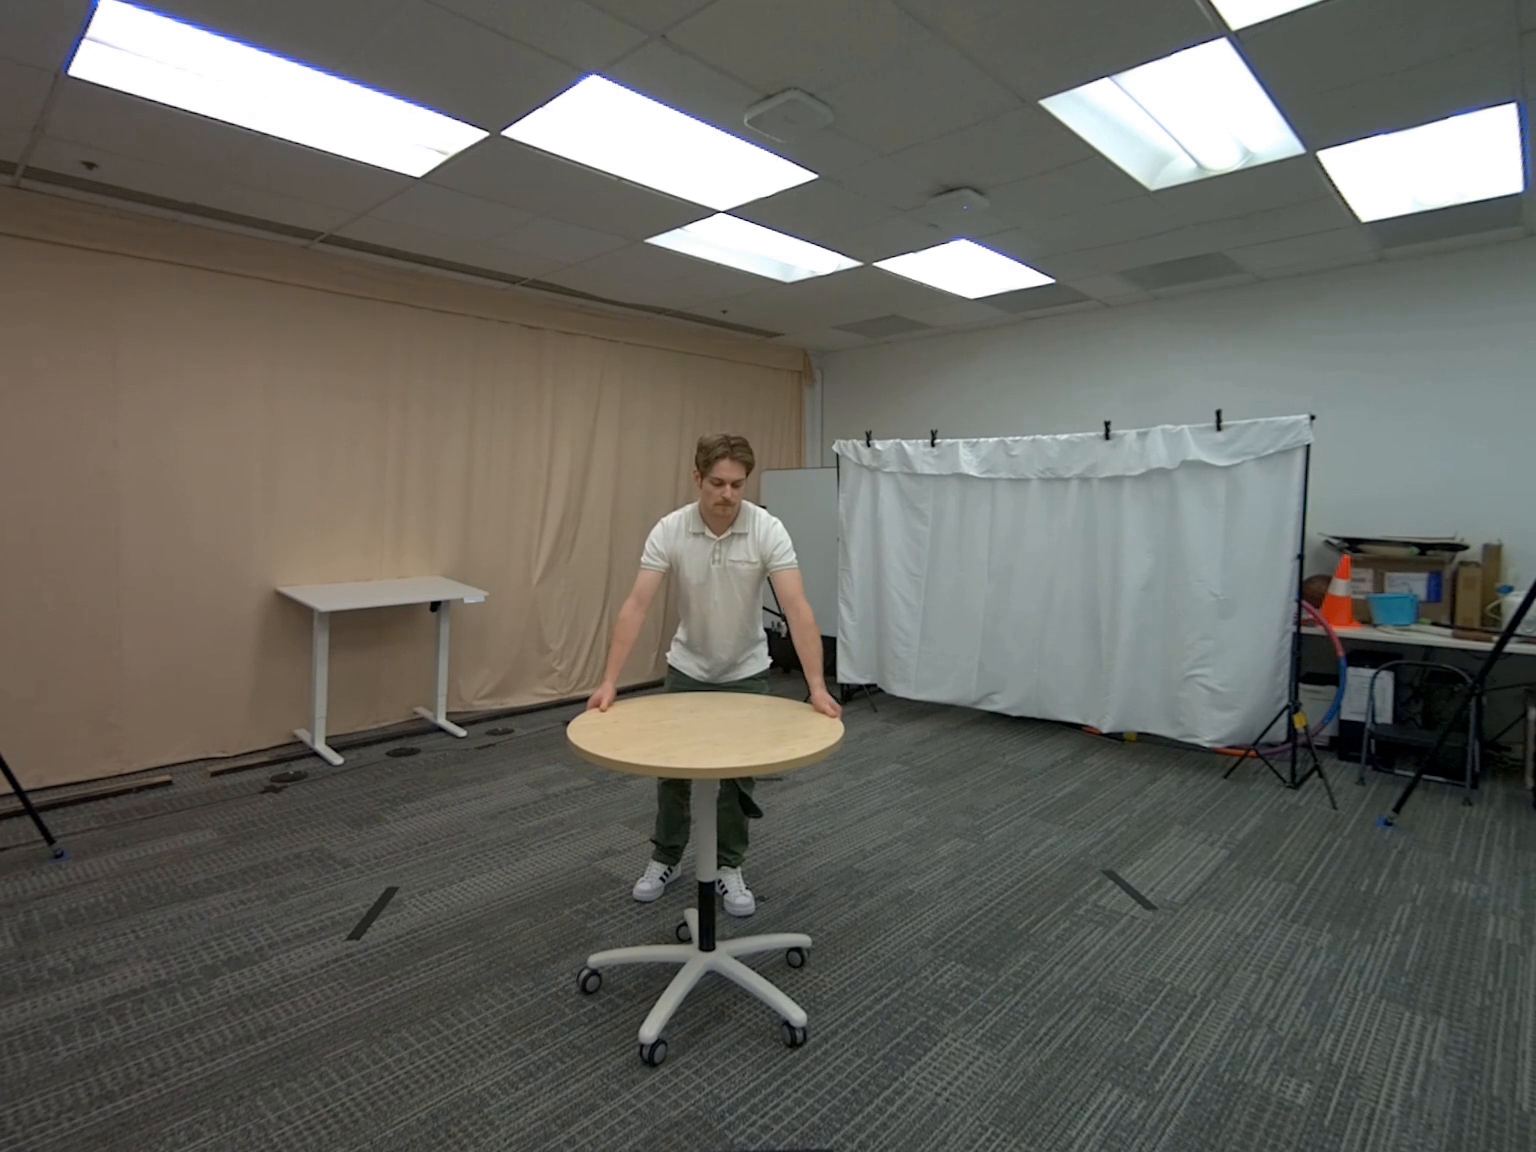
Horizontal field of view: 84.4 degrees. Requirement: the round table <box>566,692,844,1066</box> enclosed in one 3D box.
[{"bbox_3d":[-0.166,0.806,2.372,0.763,0.792,0.767,0,4,-2],"label":"round table"}]
